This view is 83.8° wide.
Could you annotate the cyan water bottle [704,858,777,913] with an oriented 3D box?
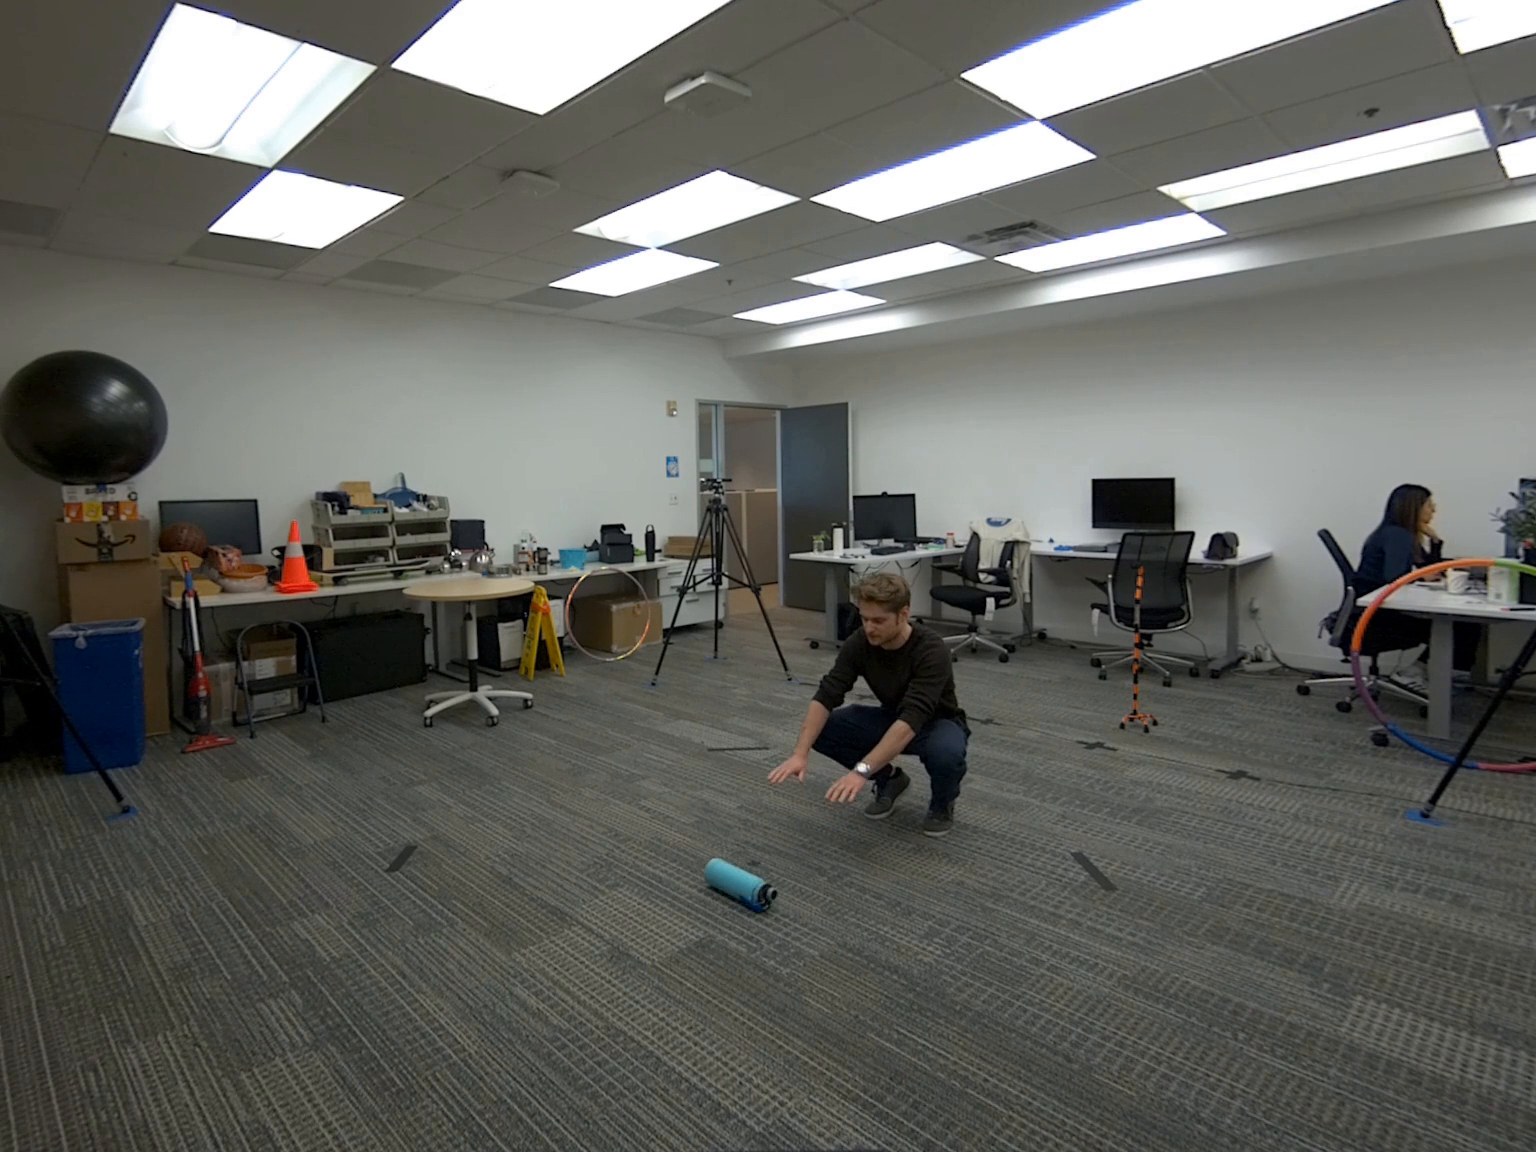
[{"bbox_3d":[-0.095,1.025,2.848,0.292,0.092,0.090,6,8,45],"label":"cyan water bottle"}]
